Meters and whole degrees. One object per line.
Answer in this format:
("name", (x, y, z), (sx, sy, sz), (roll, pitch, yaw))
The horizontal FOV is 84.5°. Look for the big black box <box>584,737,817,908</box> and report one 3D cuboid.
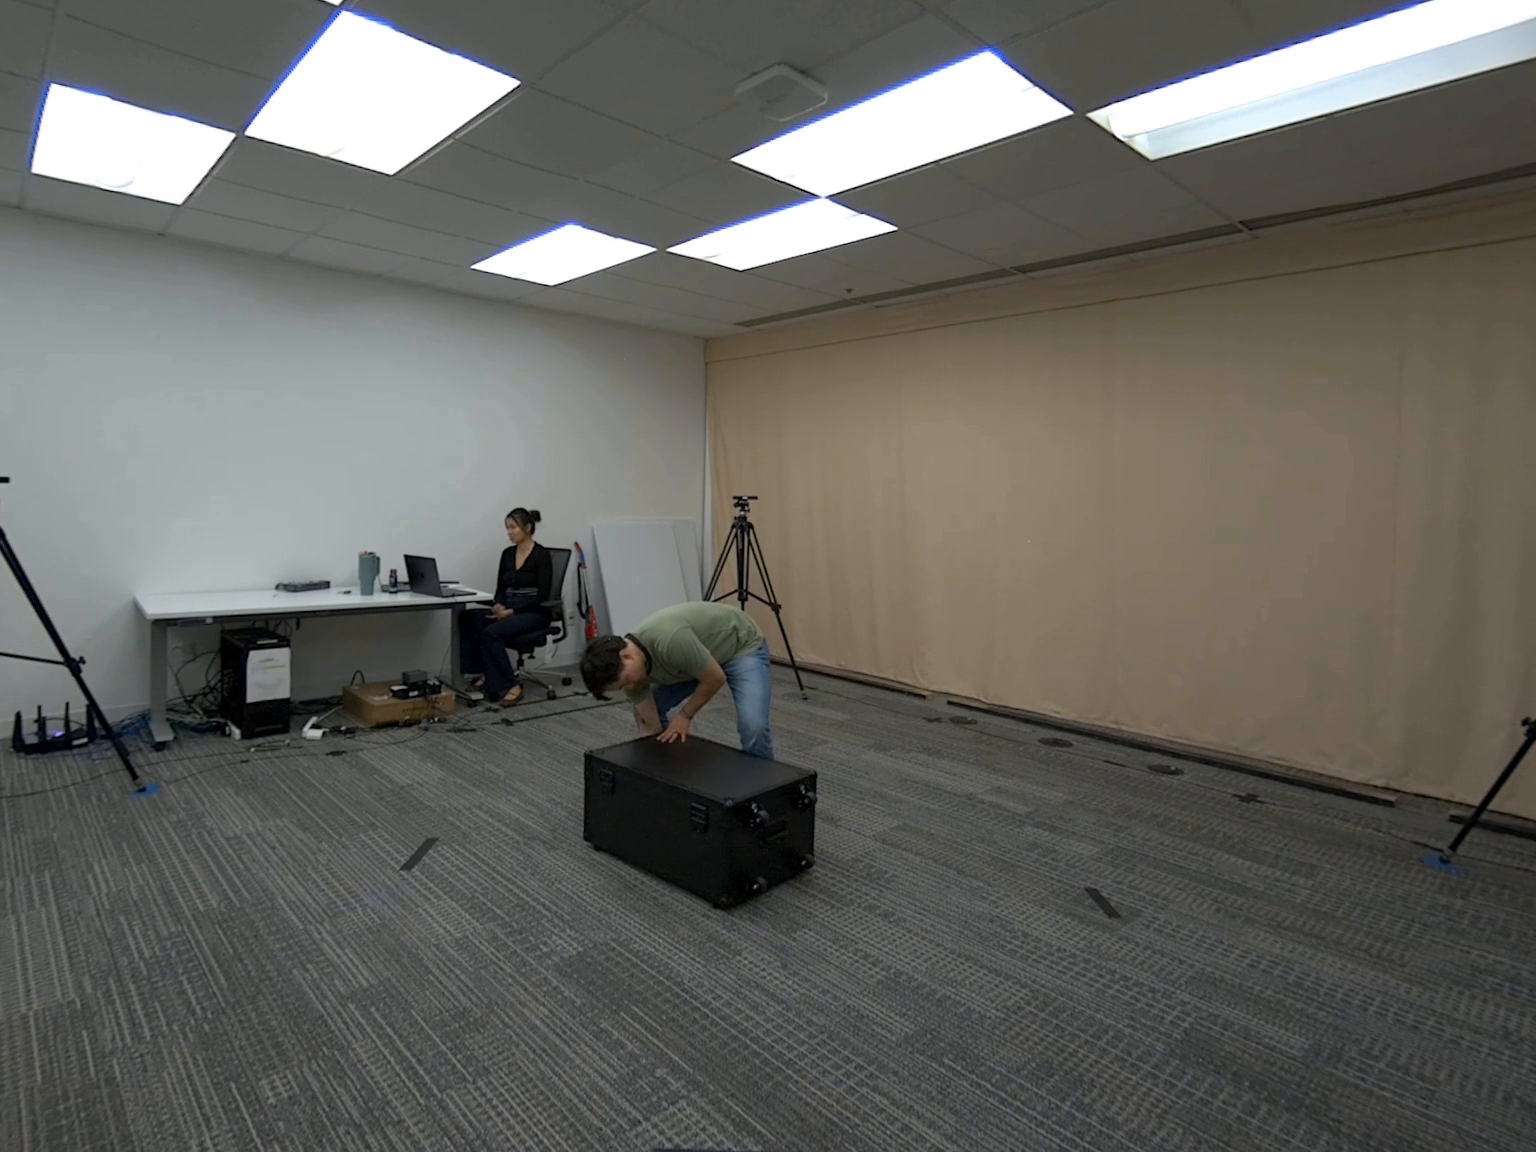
("big black box", (-0.257, 0.900, 3.196), (0.883, 0.395, 0.509), (4, 5, 41))
